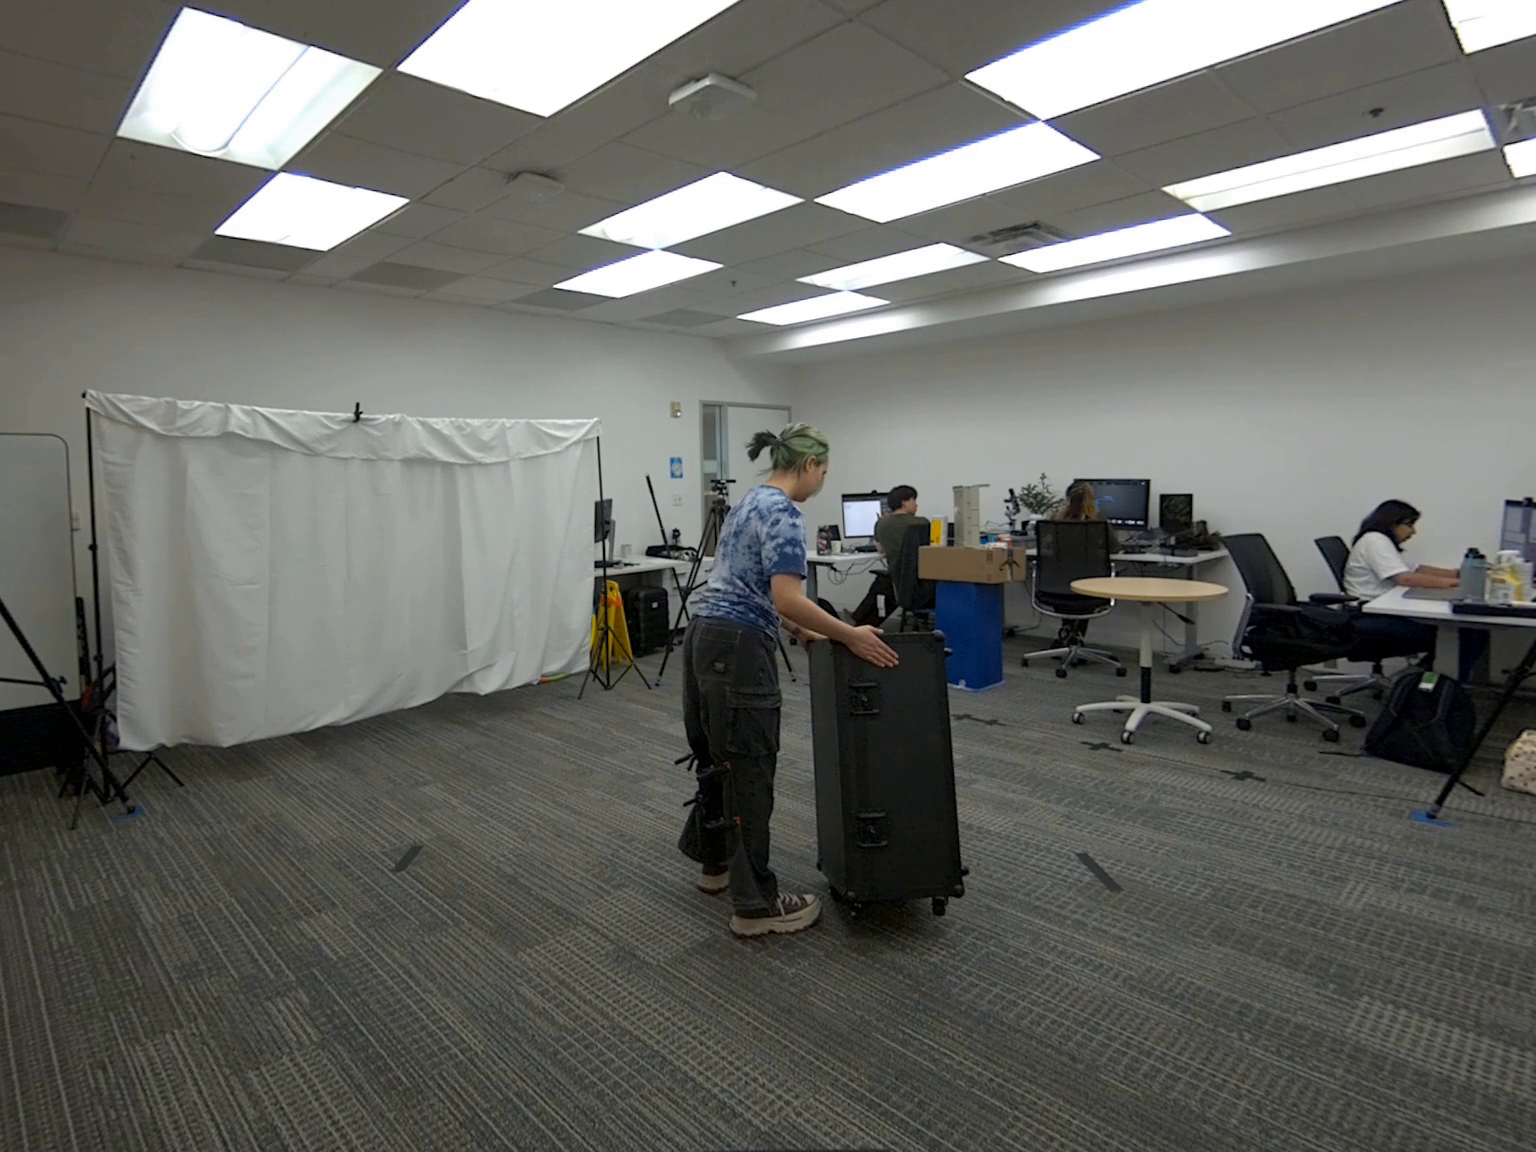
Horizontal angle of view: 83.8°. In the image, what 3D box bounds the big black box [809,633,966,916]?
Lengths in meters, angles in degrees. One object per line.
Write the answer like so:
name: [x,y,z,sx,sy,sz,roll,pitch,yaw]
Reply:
big black box: [0.376,0.632,2.822,0.394,0.870,0.519,0,-9,-6]
